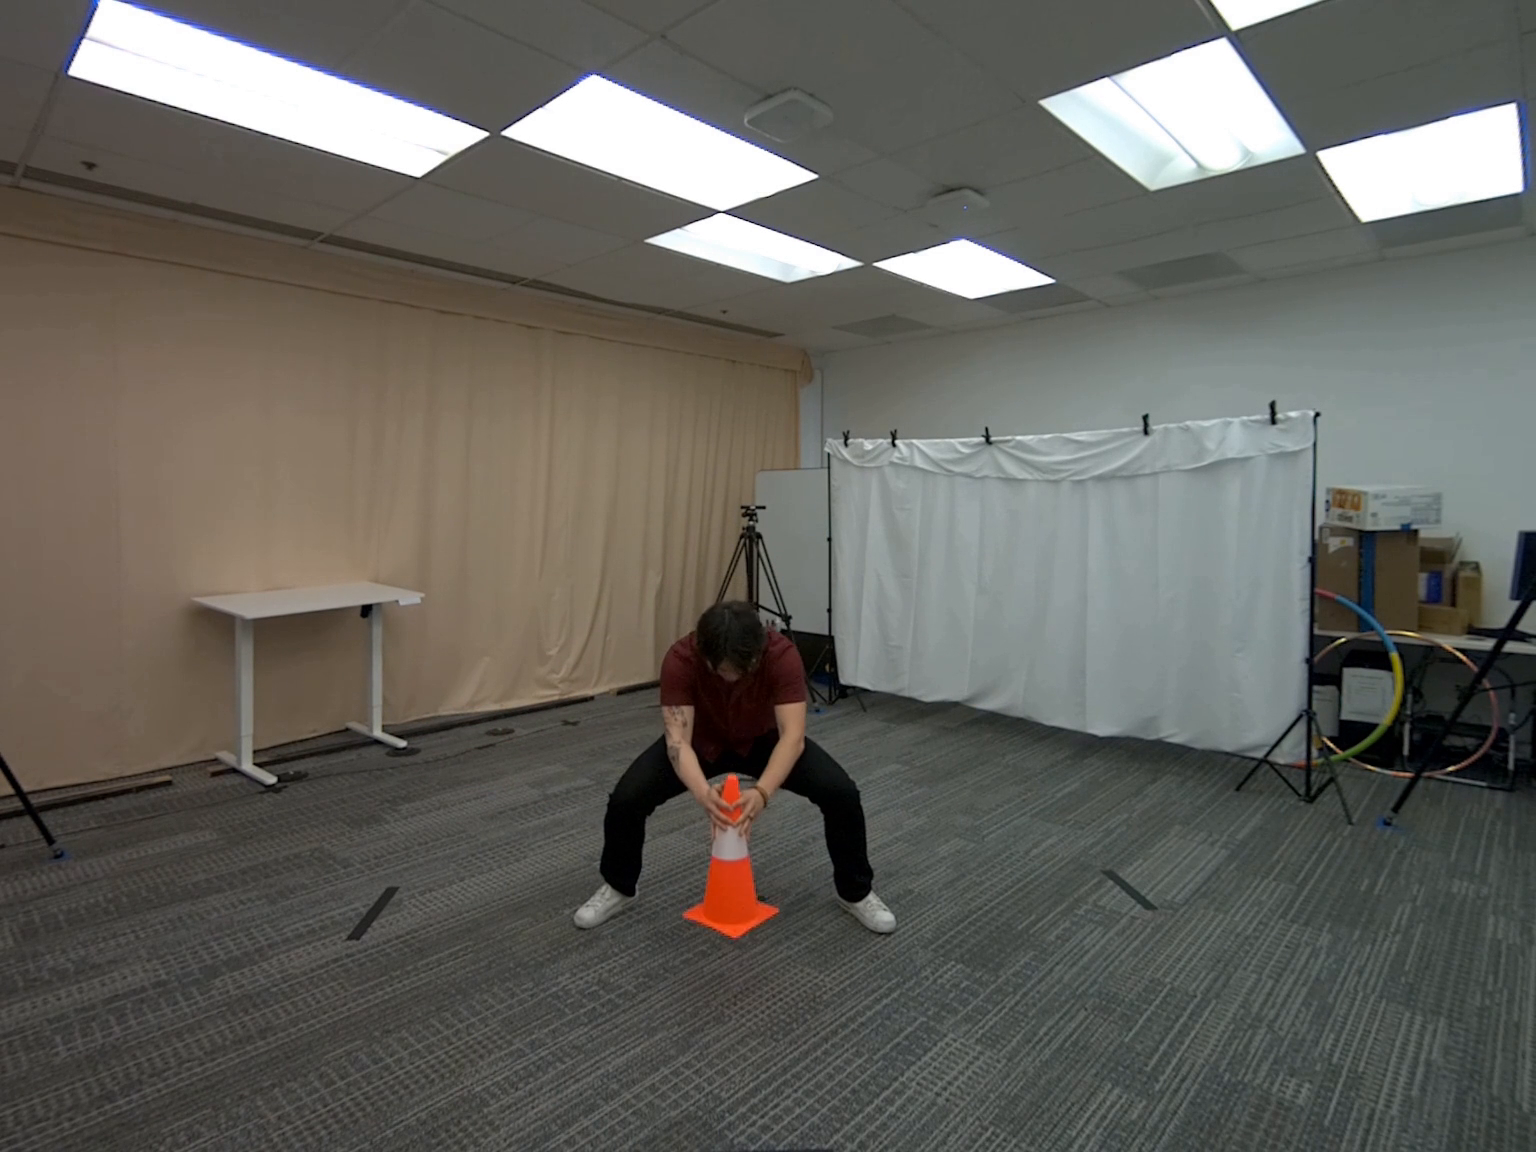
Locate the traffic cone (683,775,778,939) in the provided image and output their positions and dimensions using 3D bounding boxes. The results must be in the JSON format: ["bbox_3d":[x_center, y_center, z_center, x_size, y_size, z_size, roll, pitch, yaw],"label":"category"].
[{"bbox_3d":[-0.101,0.742,2.333,0.197,0.383,0.211,-2,2,-33],"label":"traffic cone"}]
